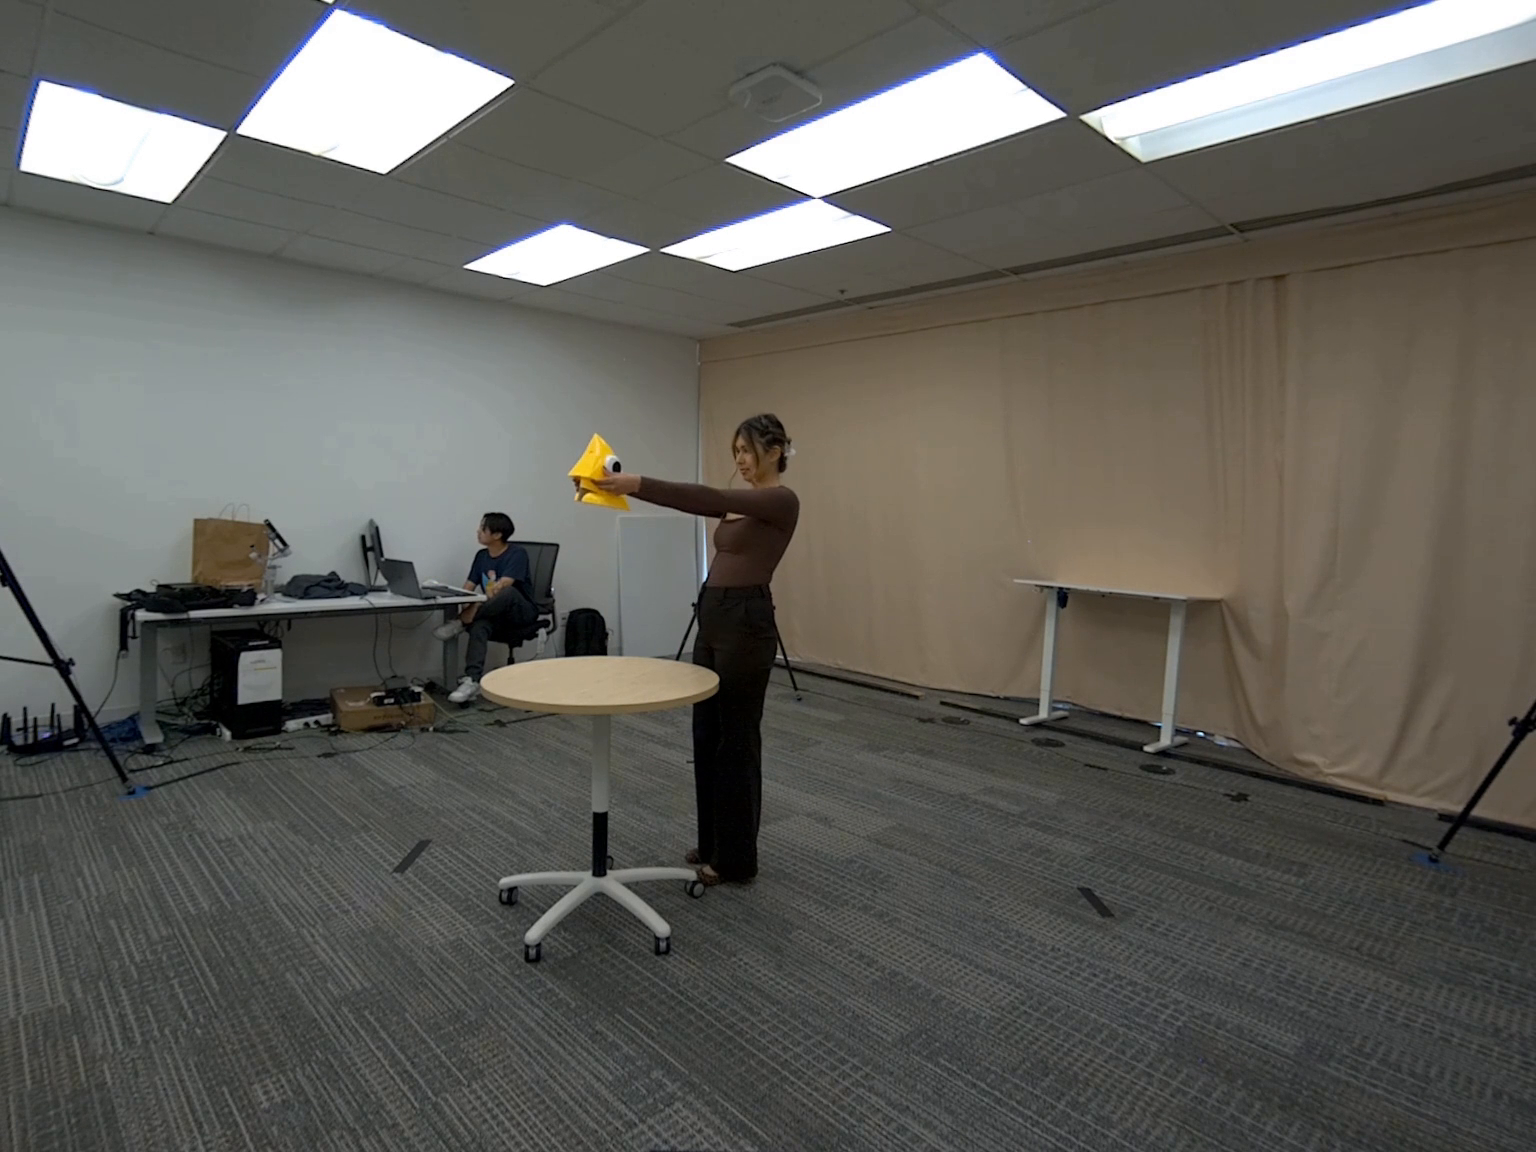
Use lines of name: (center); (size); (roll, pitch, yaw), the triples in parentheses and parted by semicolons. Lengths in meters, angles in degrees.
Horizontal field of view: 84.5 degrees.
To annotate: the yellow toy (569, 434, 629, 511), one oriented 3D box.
yellow toy: (-0.553, -0.348, 2.820); (0.188, 0.231, 0.210); (11, 0, -31)
